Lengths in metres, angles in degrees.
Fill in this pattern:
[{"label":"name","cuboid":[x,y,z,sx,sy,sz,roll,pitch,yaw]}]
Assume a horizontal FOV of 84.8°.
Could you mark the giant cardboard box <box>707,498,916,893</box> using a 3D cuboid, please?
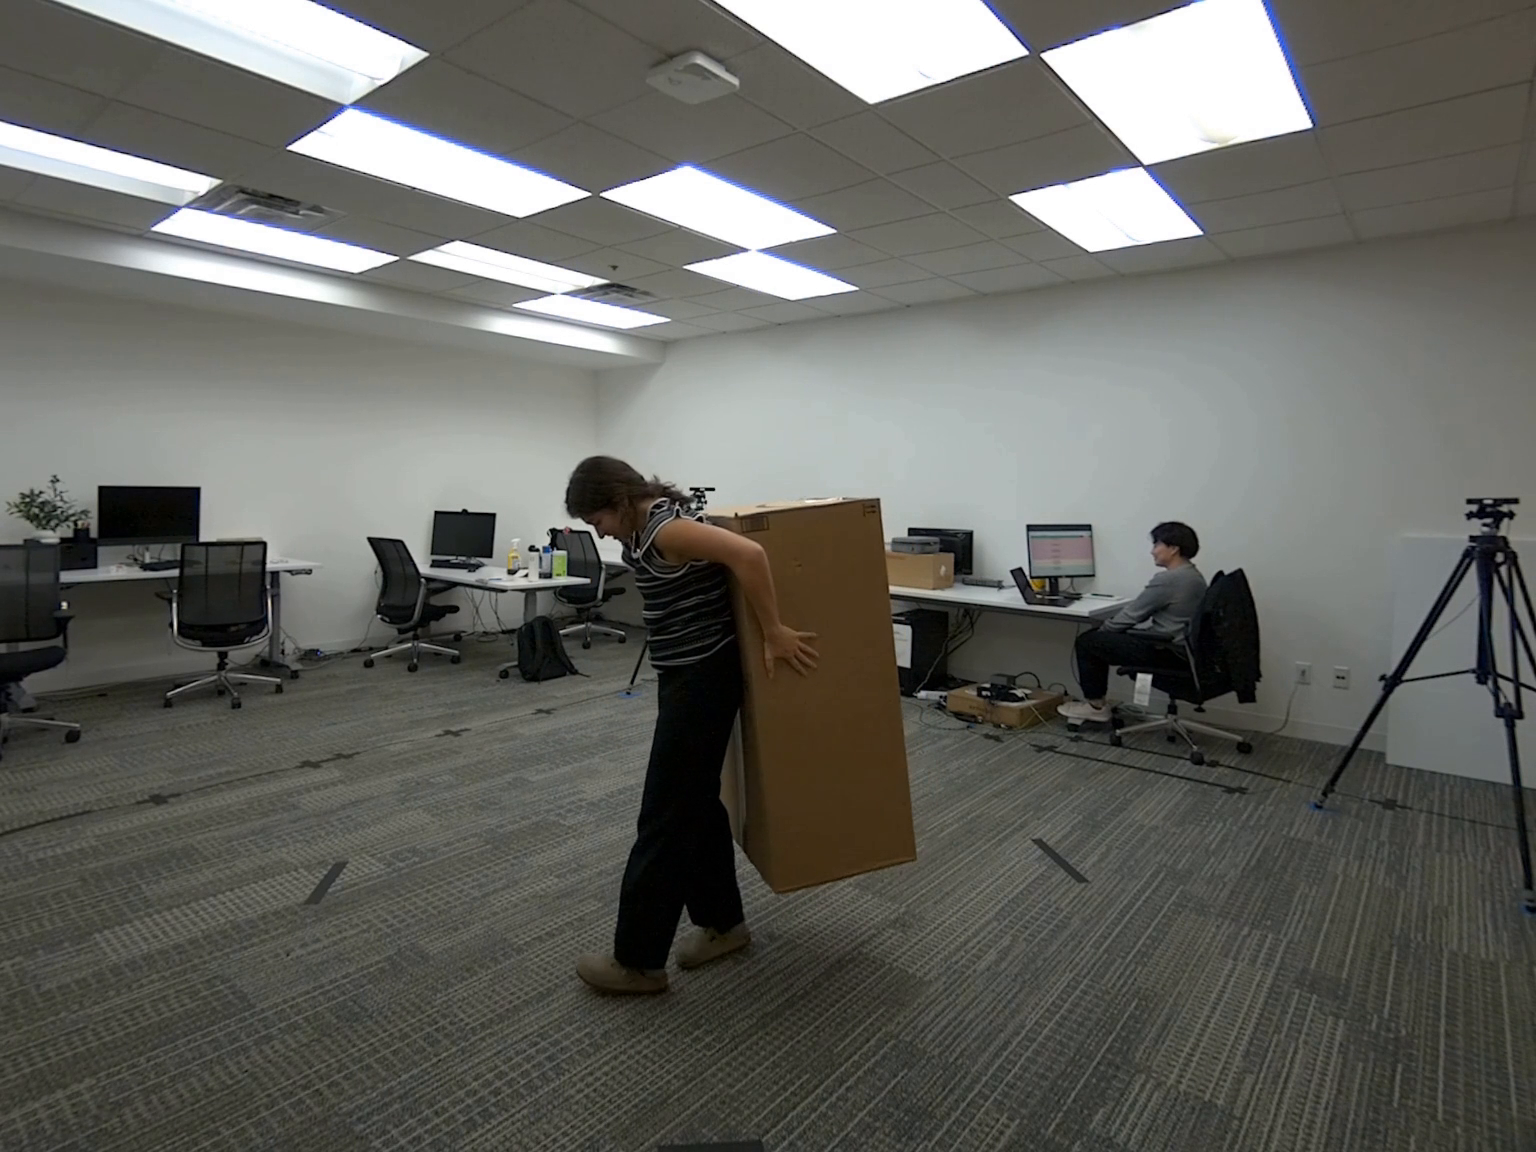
[{"label":"giant cardboard box","cuboid":[0.066,0.296,2.560,0.420,1.022,0.589,-7,4,-17]}]
